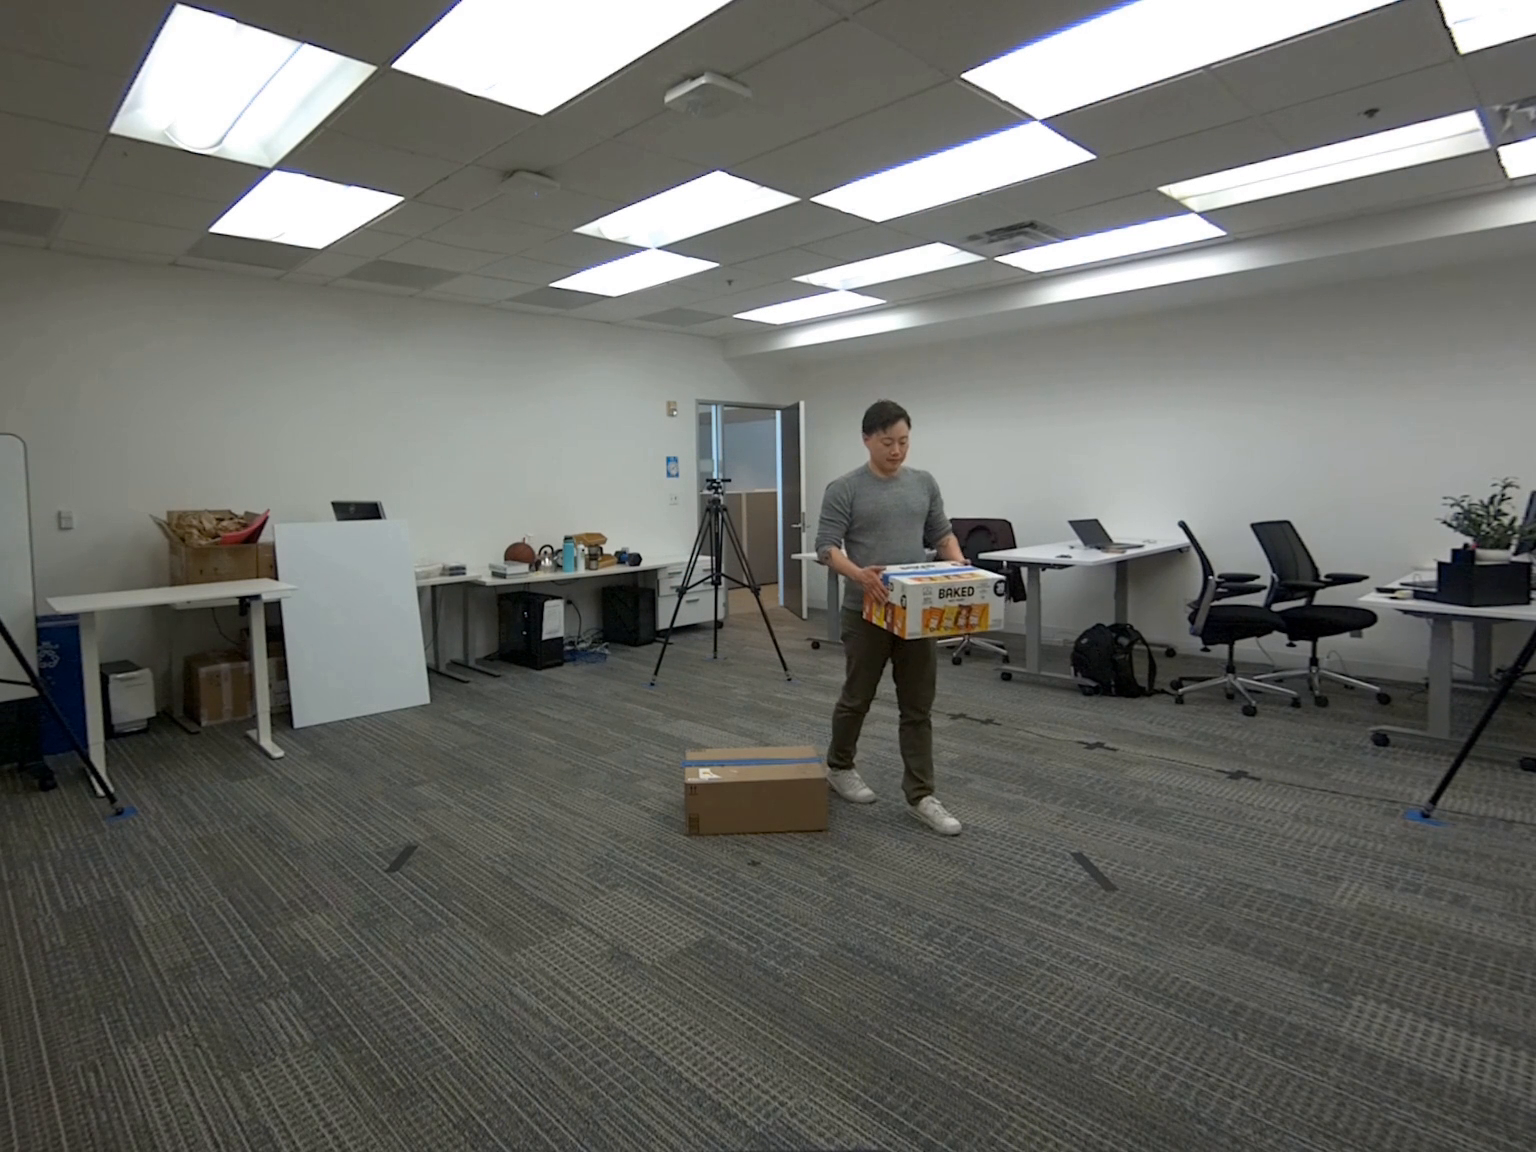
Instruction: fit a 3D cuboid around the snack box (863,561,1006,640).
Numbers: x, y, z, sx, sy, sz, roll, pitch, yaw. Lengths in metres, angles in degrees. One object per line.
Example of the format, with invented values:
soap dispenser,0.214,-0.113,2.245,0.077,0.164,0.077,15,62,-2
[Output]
snack box,0.618,0.082,3.225,0.399,0.204,0.348,-4,11,-17
